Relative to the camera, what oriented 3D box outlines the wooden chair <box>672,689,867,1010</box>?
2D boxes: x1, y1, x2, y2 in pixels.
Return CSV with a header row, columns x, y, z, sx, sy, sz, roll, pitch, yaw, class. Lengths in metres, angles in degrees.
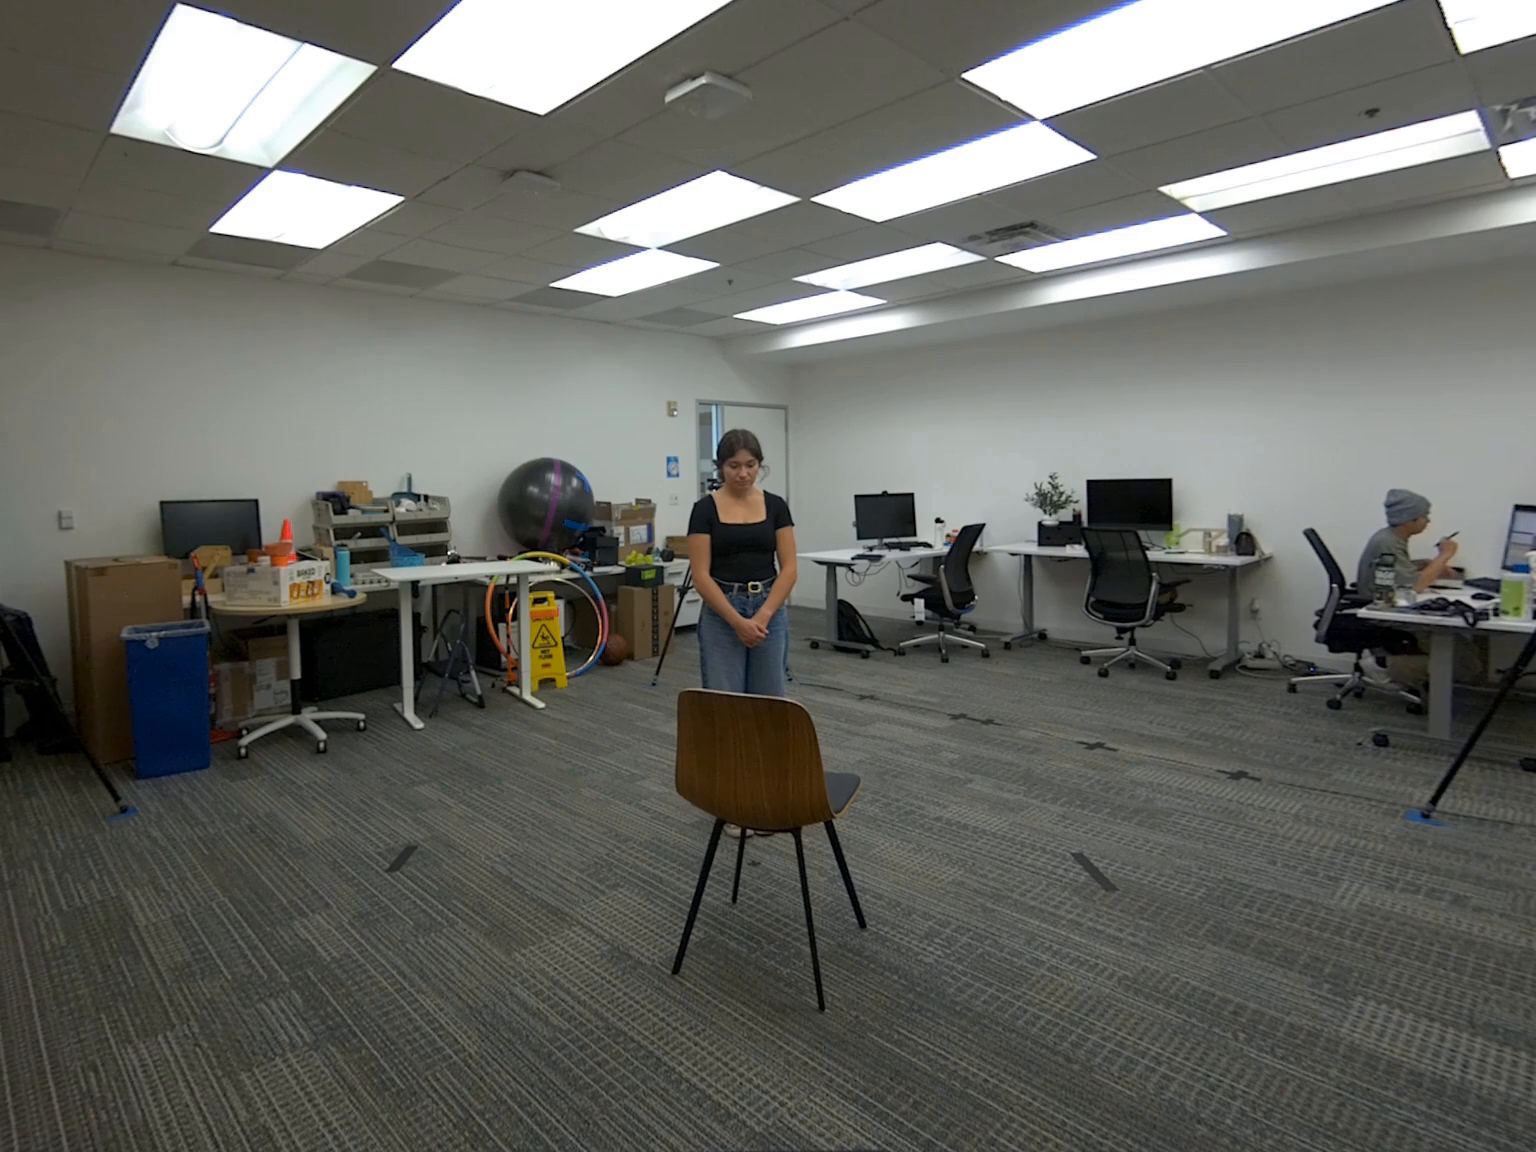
x,y,z,sx,sy,sz,roll,pitch,yaw,class
0.010,0.691,2.509,0.488,0.870,0.516,1,9,23,wooden chair
